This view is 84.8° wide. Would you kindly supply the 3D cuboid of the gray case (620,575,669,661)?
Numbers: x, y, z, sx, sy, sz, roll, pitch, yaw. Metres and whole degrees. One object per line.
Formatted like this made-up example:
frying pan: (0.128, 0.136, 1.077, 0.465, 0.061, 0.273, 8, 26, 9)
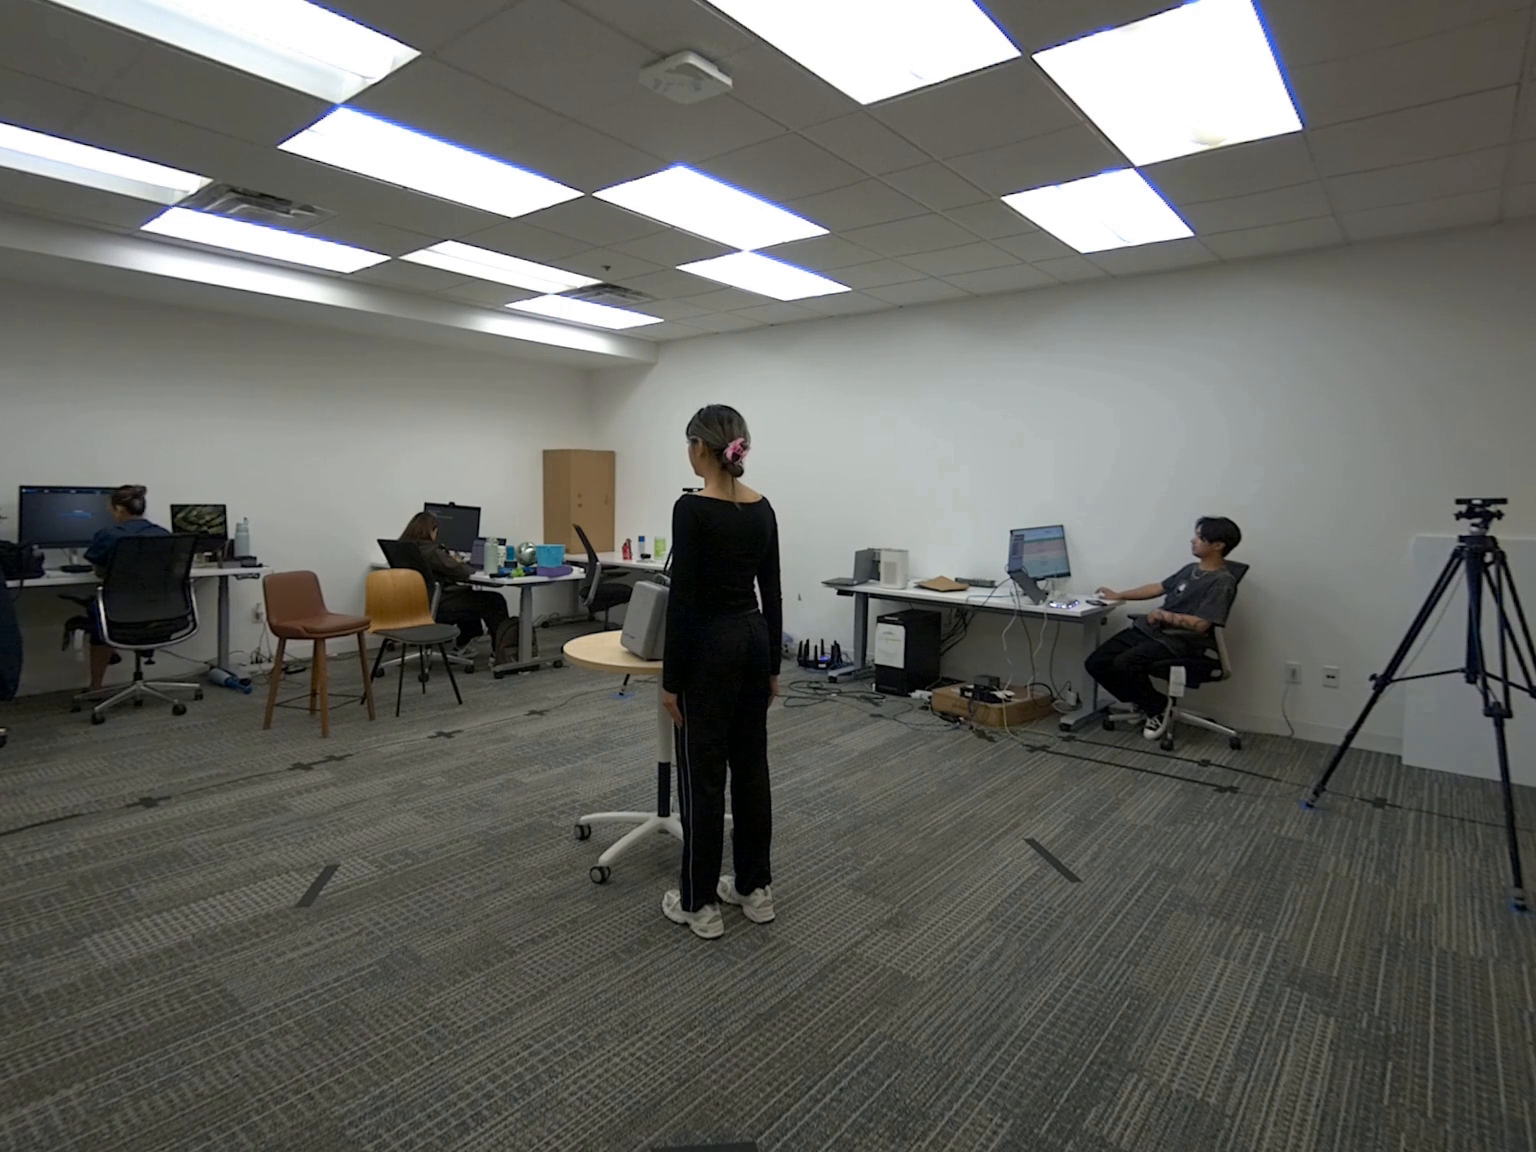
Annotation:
gray case: (-0.433, 0.150, 3.043, 0.101, 0.261, 0.264, 11, -1, -28)
